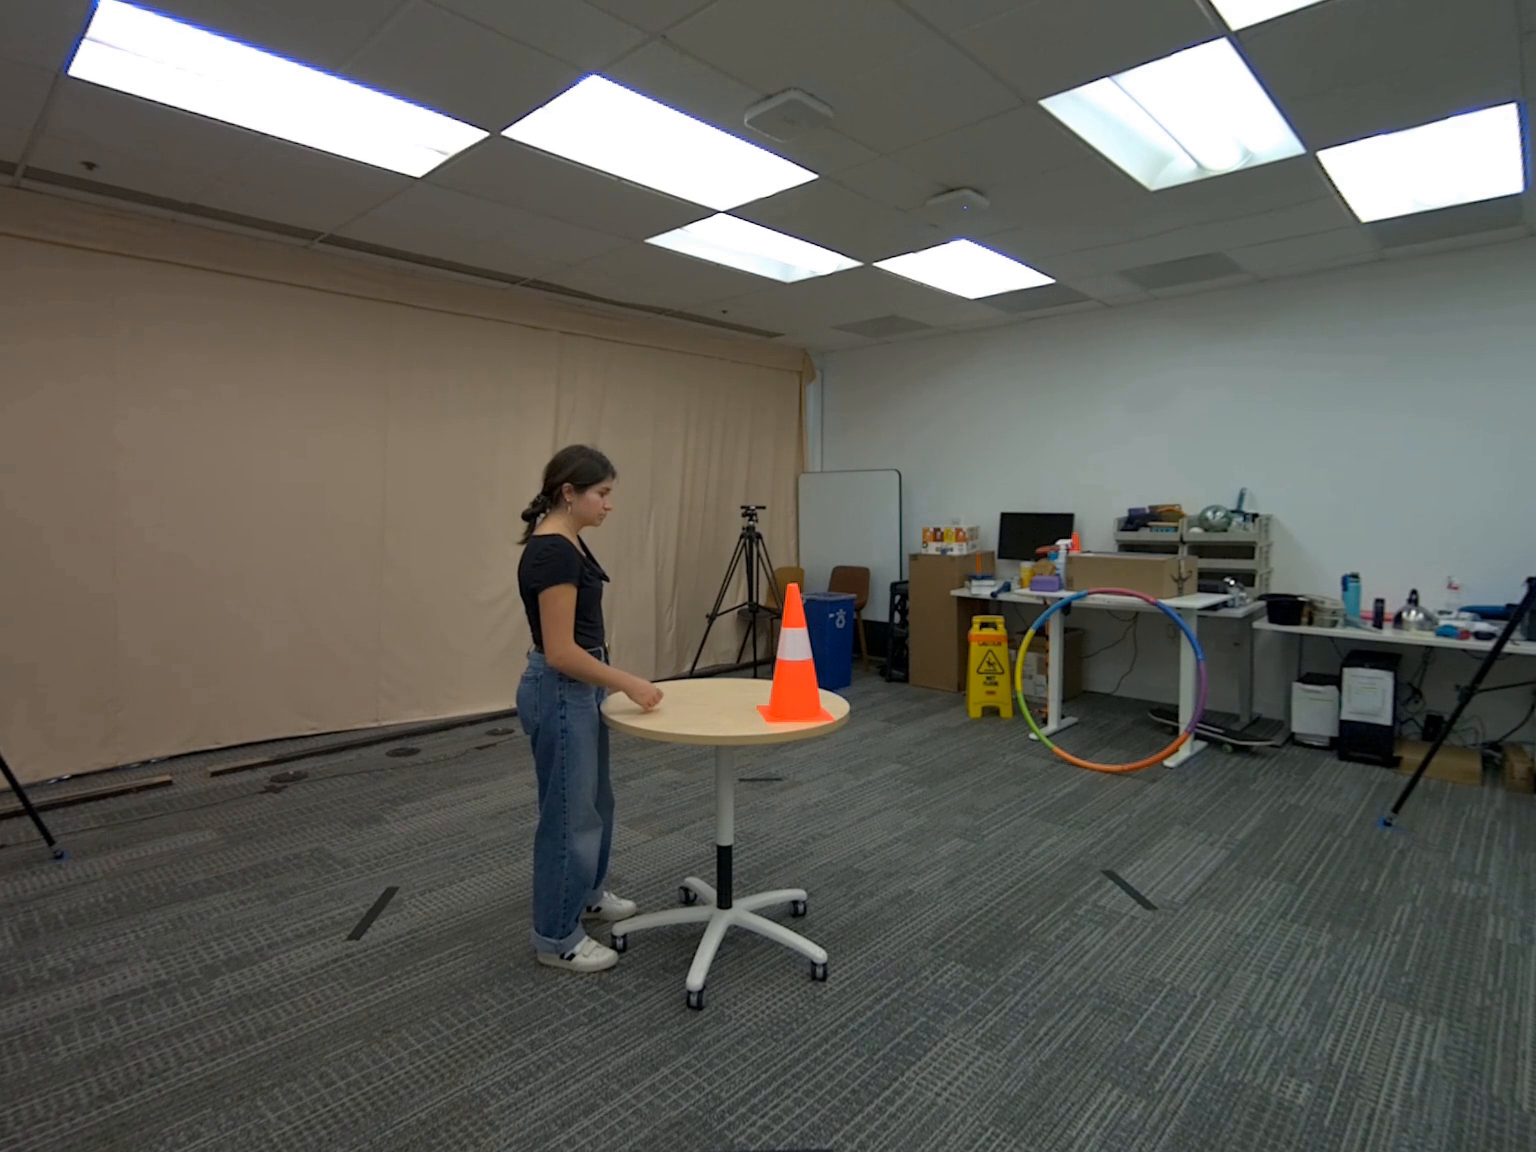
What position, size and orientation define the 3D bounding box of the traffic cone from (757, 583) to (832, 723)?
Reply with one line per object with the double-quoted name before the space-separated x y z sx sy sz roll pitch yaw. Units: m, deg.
"traffic cone" 0.077 0.222 2.442 0.203 0.383 0.206 -4 3 -11
